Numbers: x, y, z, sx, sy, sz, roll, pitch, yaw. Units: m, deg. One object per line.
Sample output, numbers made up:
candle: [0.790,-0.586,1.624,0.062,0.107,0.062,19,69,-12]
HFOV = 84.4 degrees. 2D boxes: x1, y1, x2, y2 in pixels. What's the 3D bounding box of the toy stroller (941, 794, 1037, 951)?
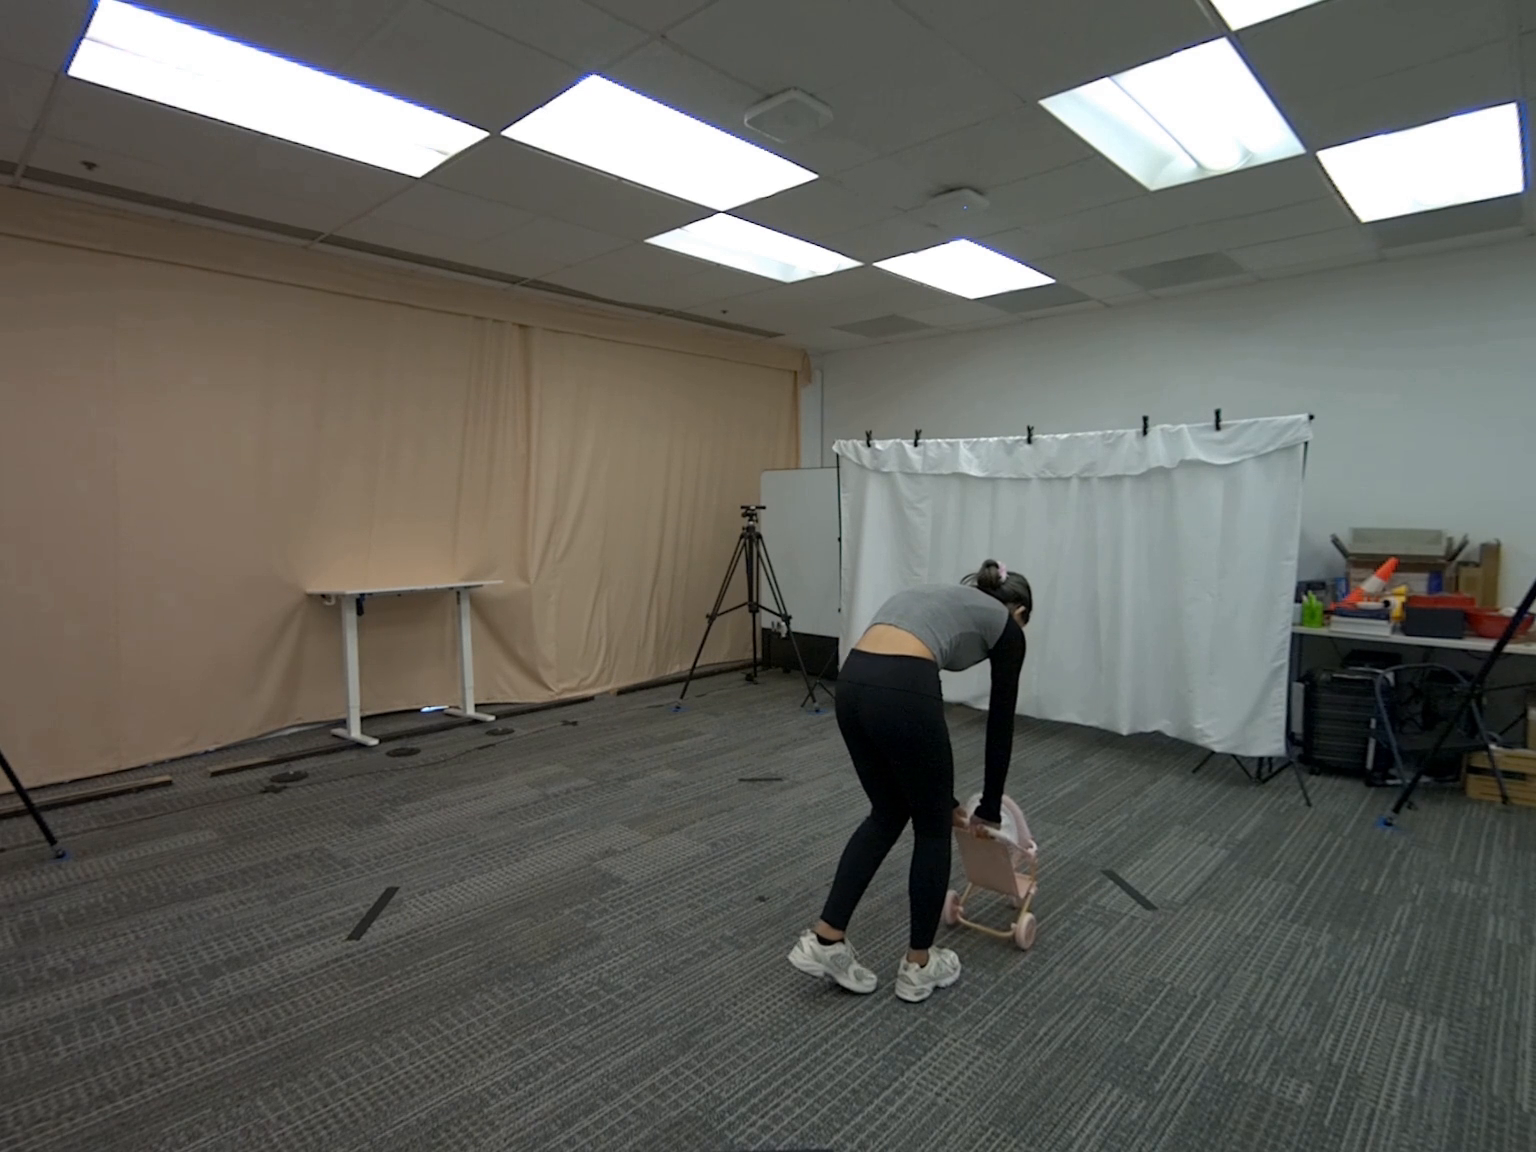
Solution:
toy stroller: [0.752,0.935,2.756,0.291,0.528,0.334,4,21,41]
